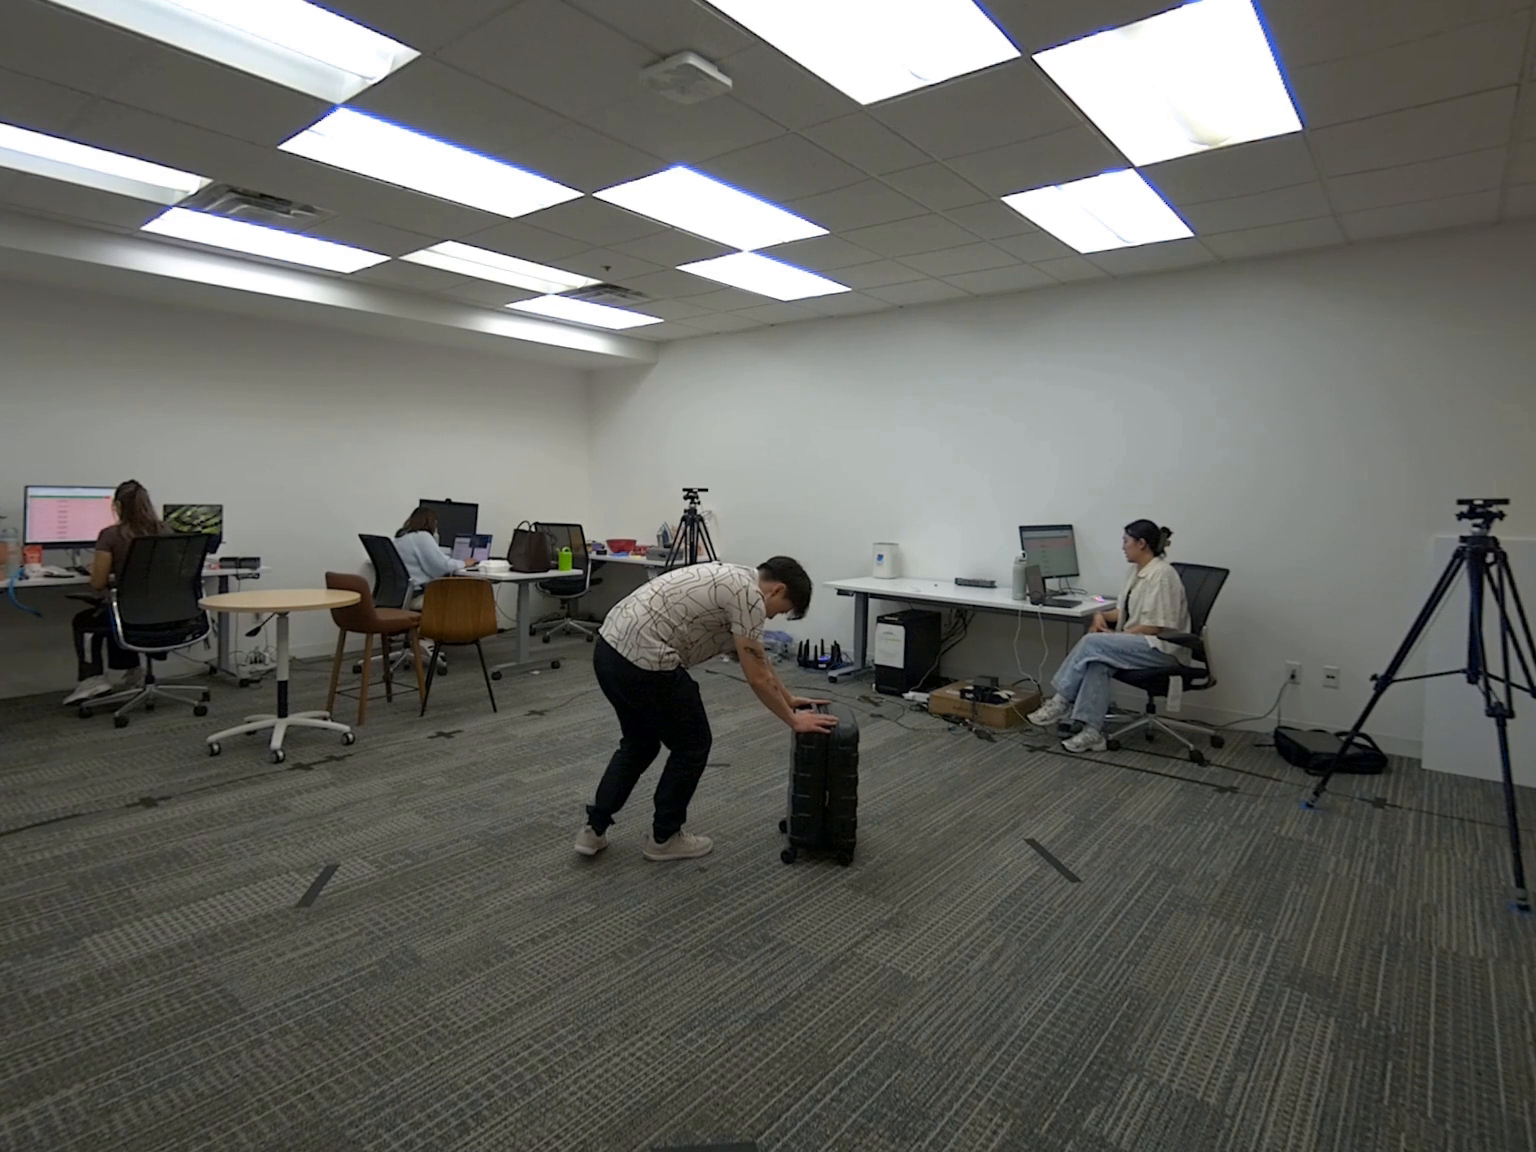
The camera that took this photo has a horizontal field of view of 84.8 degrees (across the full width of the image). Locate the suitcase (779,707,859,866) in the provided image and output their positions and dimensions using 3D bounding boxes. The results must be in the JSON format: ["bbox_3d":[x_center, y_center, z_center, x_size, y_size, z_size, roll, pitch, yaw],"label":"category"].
[{"bbox_3d":[0.200,0.790,3.307,0.249,0.547,0.375,3,4,2],"label":"suitcase"}]
